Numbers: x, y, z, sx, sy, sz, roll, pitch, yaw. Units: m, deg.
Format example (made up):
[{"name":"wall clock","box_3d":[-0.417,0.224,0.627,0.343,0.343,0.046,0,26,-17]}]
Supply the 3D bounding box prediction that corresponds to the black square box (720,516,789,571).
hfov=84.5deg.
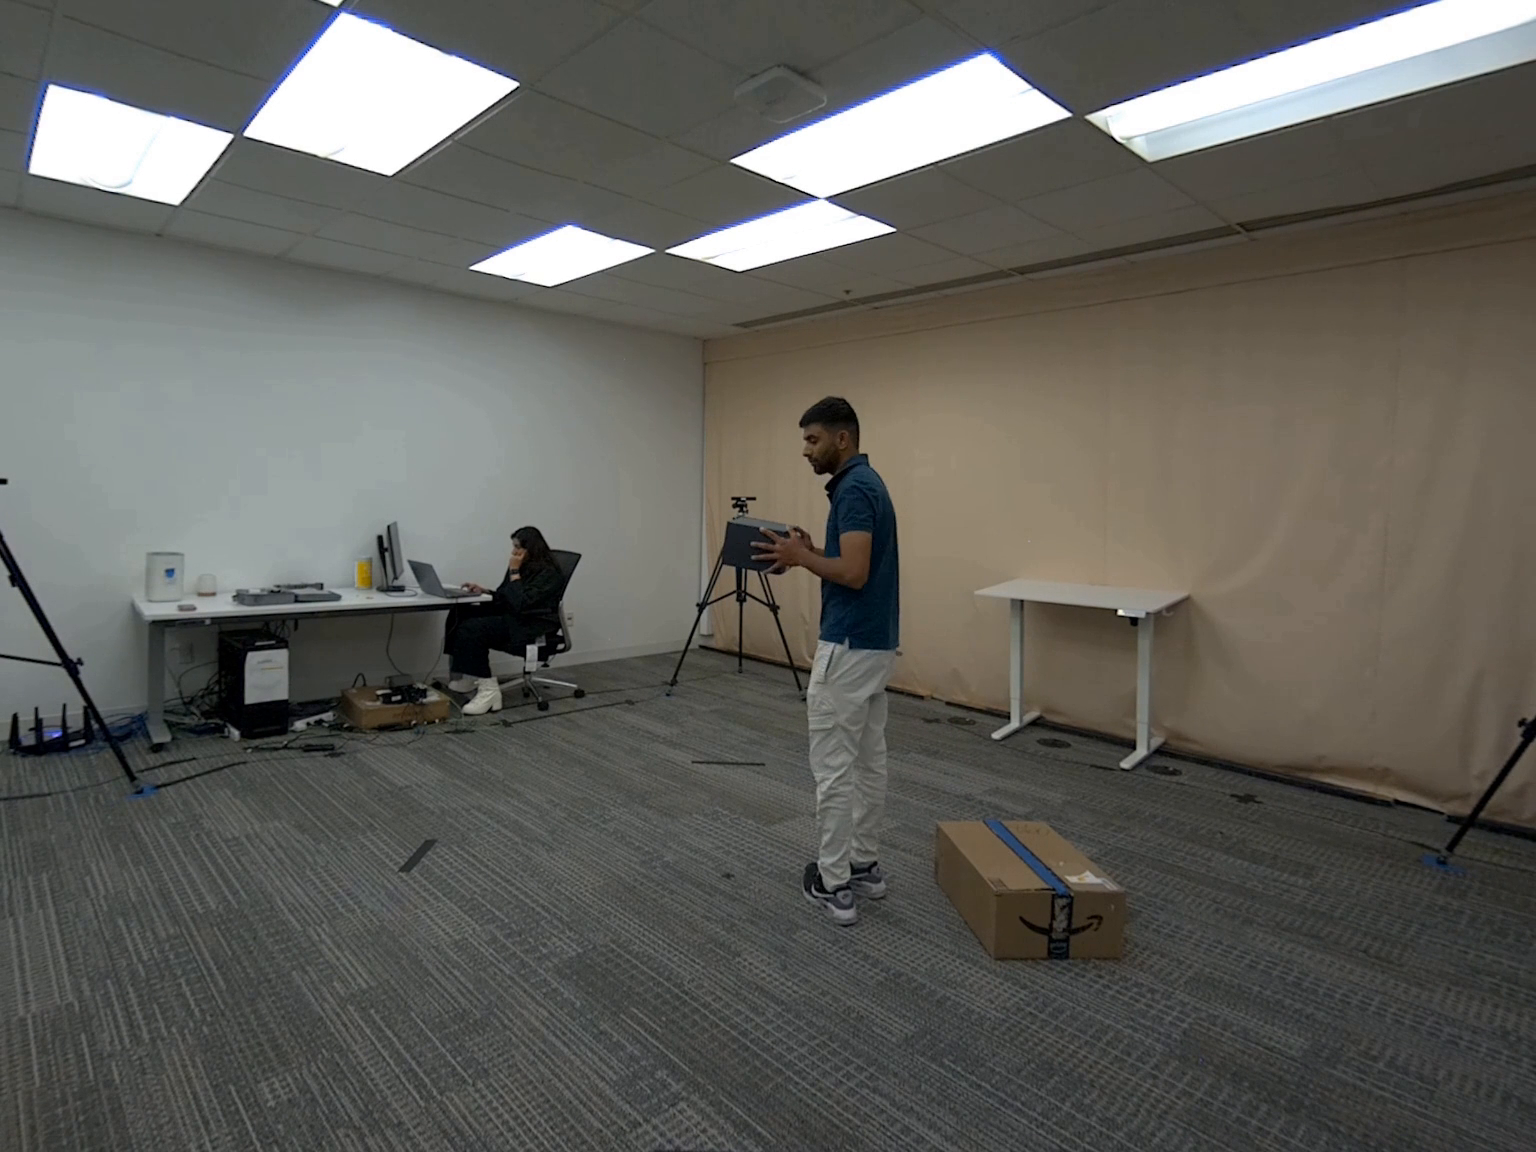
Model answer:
[{"name":"black square box","box_3d":[-0.031,-0.115,3.026,0.219,0.155,0.227,9,10,9]}]
